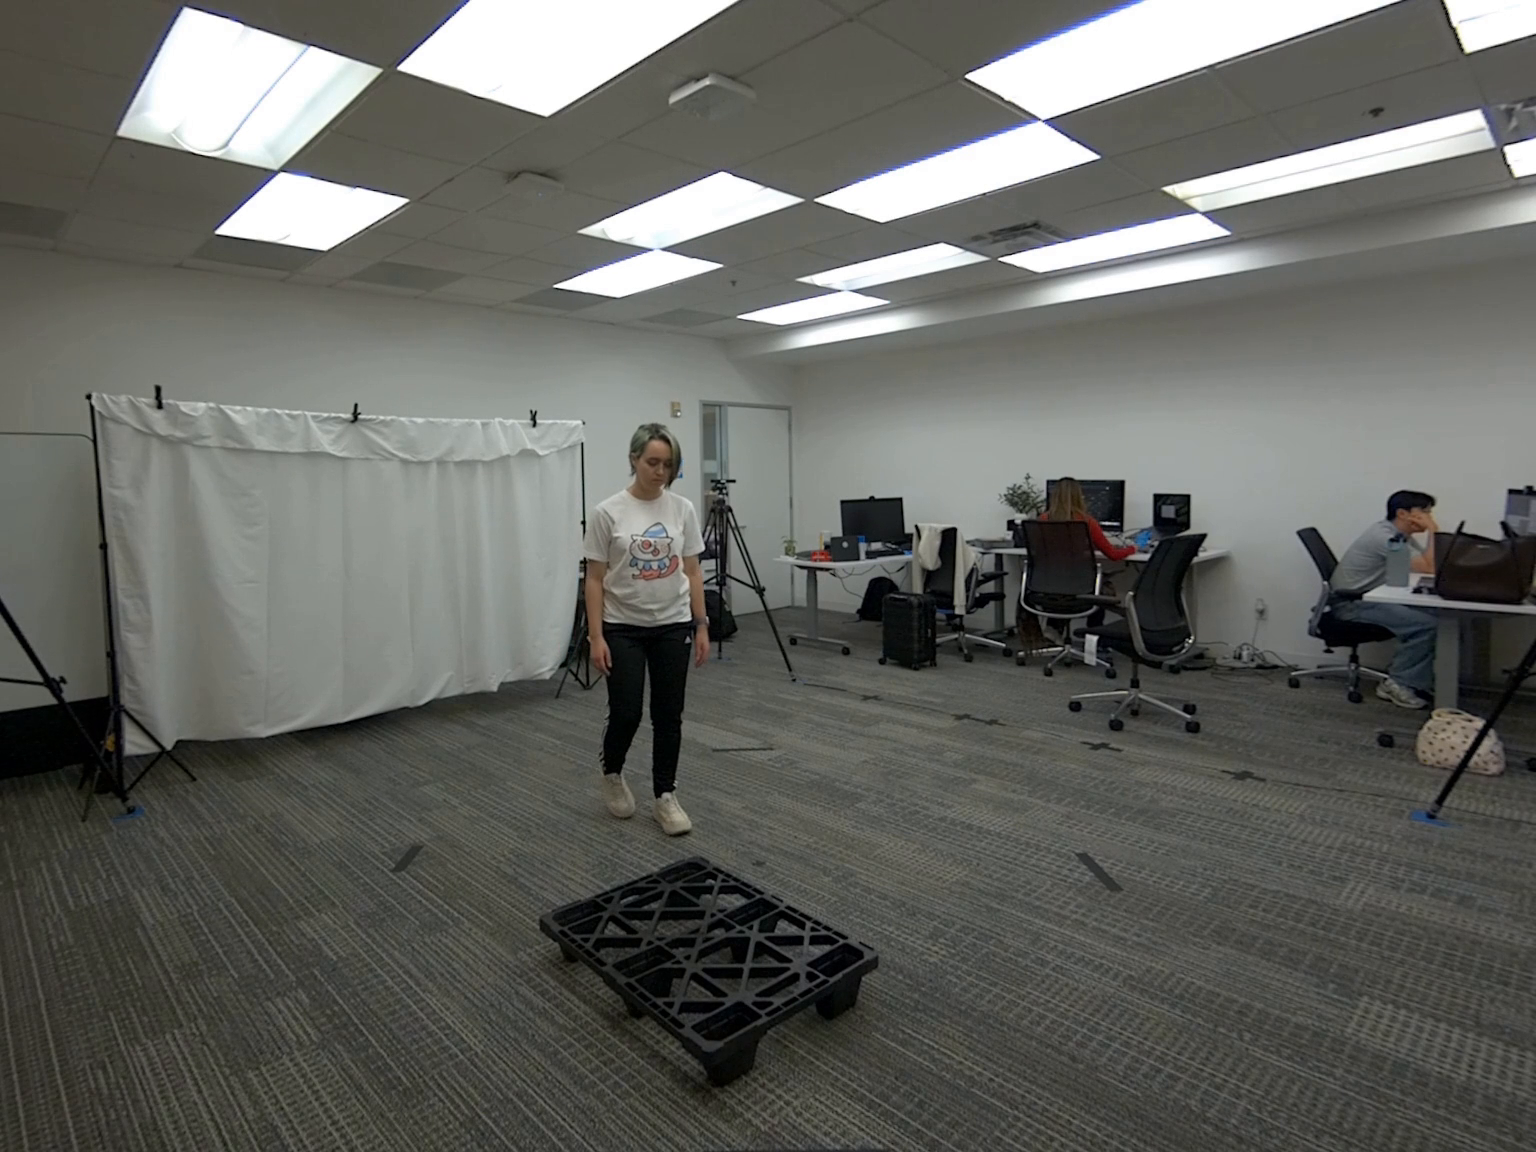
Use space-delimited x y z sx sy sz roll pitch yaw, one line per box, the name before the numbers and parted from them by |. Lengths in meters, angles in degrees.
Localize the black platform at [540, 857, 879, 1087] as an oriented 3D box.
black platform | -0.180 1.067 2.397 0.589 0.142 0.831 -6 8 -41
